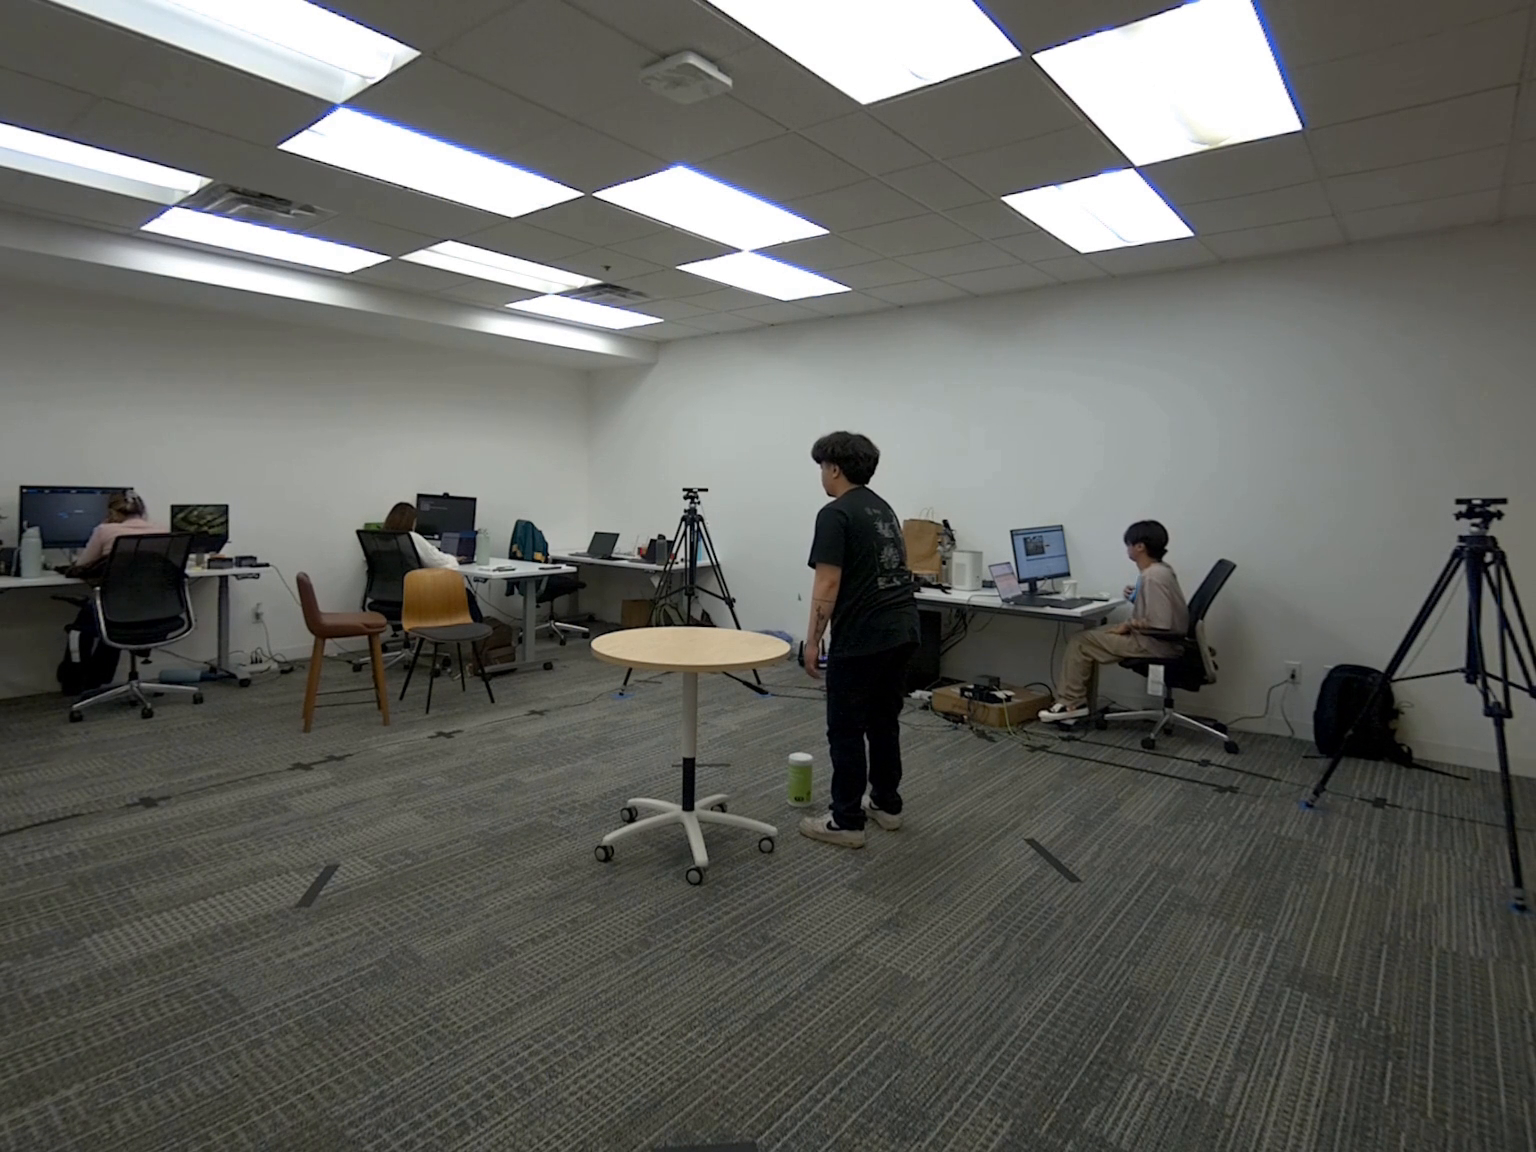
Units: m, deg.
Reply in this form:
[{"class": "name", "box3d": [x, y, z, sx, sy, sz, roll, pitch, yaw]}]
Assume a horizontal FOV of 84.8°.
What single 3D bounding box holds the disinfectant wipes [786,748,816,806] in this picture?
[{"class": "disinfectant wipes", "box3d": [0.144, 0.900, 3.782, 0.118, 0.217, 0.118, 0, 4, -2]}]
